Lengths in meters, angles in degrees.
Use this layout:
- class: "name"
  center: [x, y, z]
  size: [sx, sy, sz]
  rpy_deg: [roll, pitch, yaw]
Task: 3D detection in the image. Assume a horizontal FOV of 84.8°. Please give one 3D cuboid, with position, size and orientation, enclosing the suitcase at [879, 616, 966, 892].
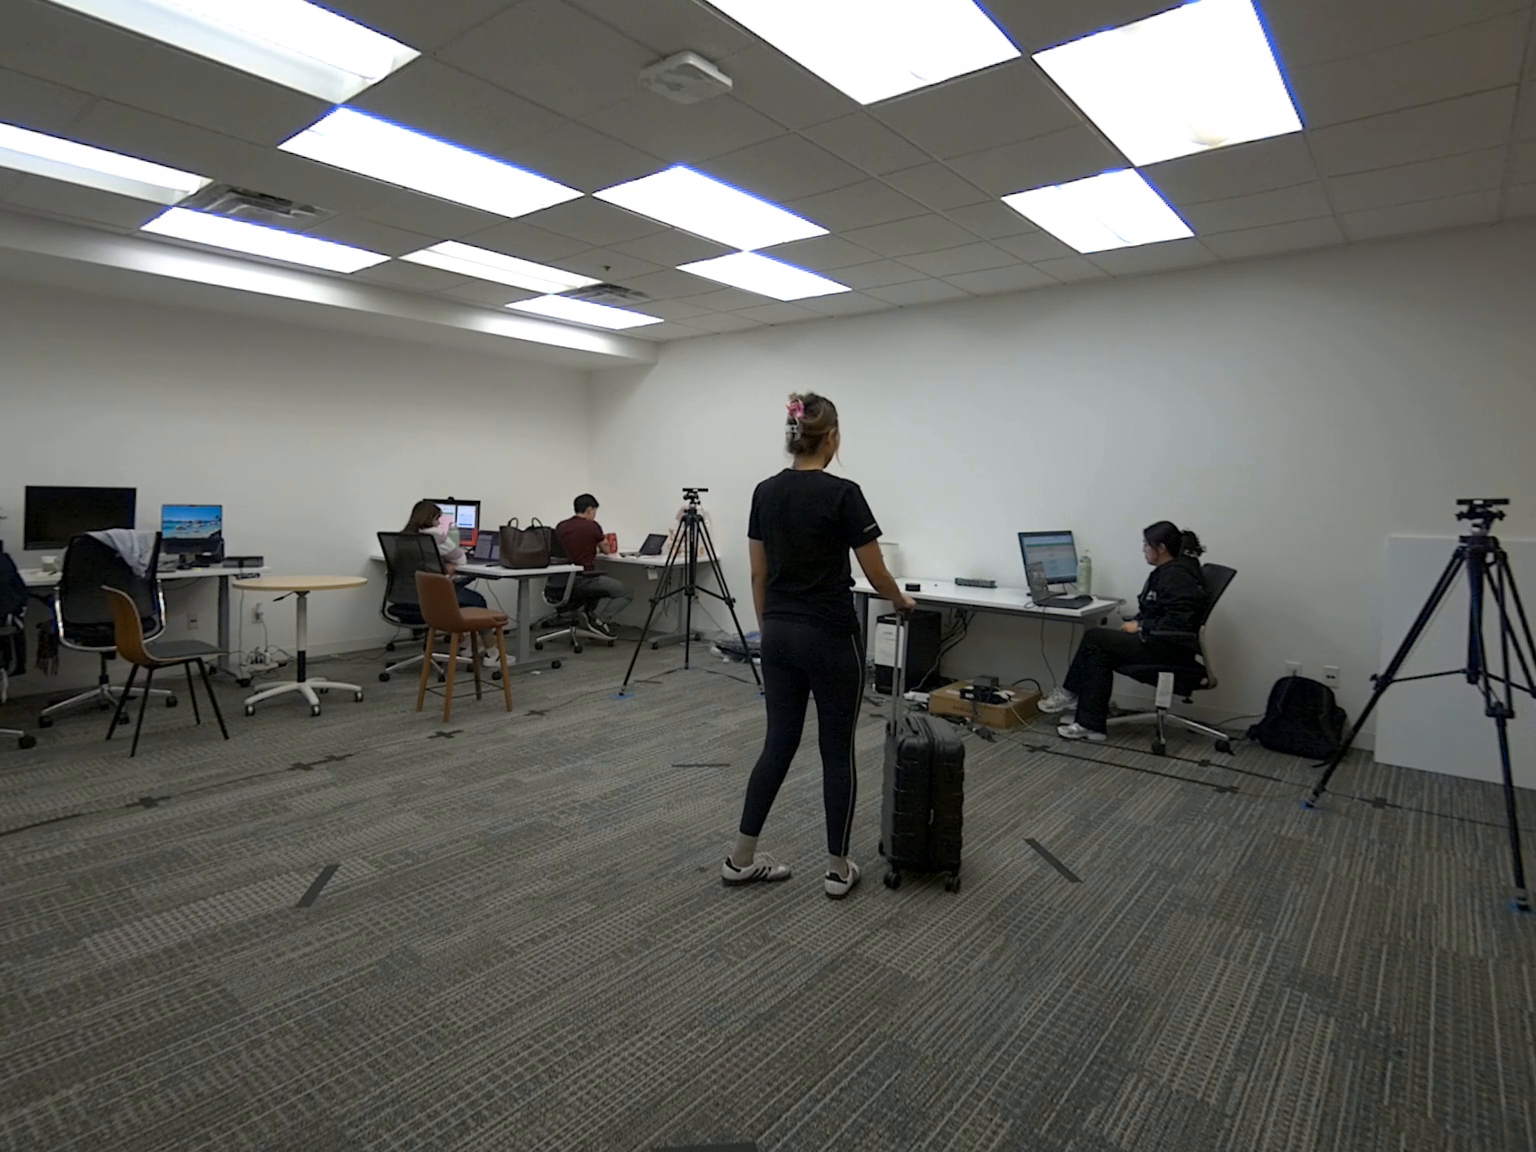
- class: "suitcase"
  center: [0.571, 0.608, 3.138]
  size: [0.258, 0.976, 0.383]
  rpy_deg: [3, 2, 4]
